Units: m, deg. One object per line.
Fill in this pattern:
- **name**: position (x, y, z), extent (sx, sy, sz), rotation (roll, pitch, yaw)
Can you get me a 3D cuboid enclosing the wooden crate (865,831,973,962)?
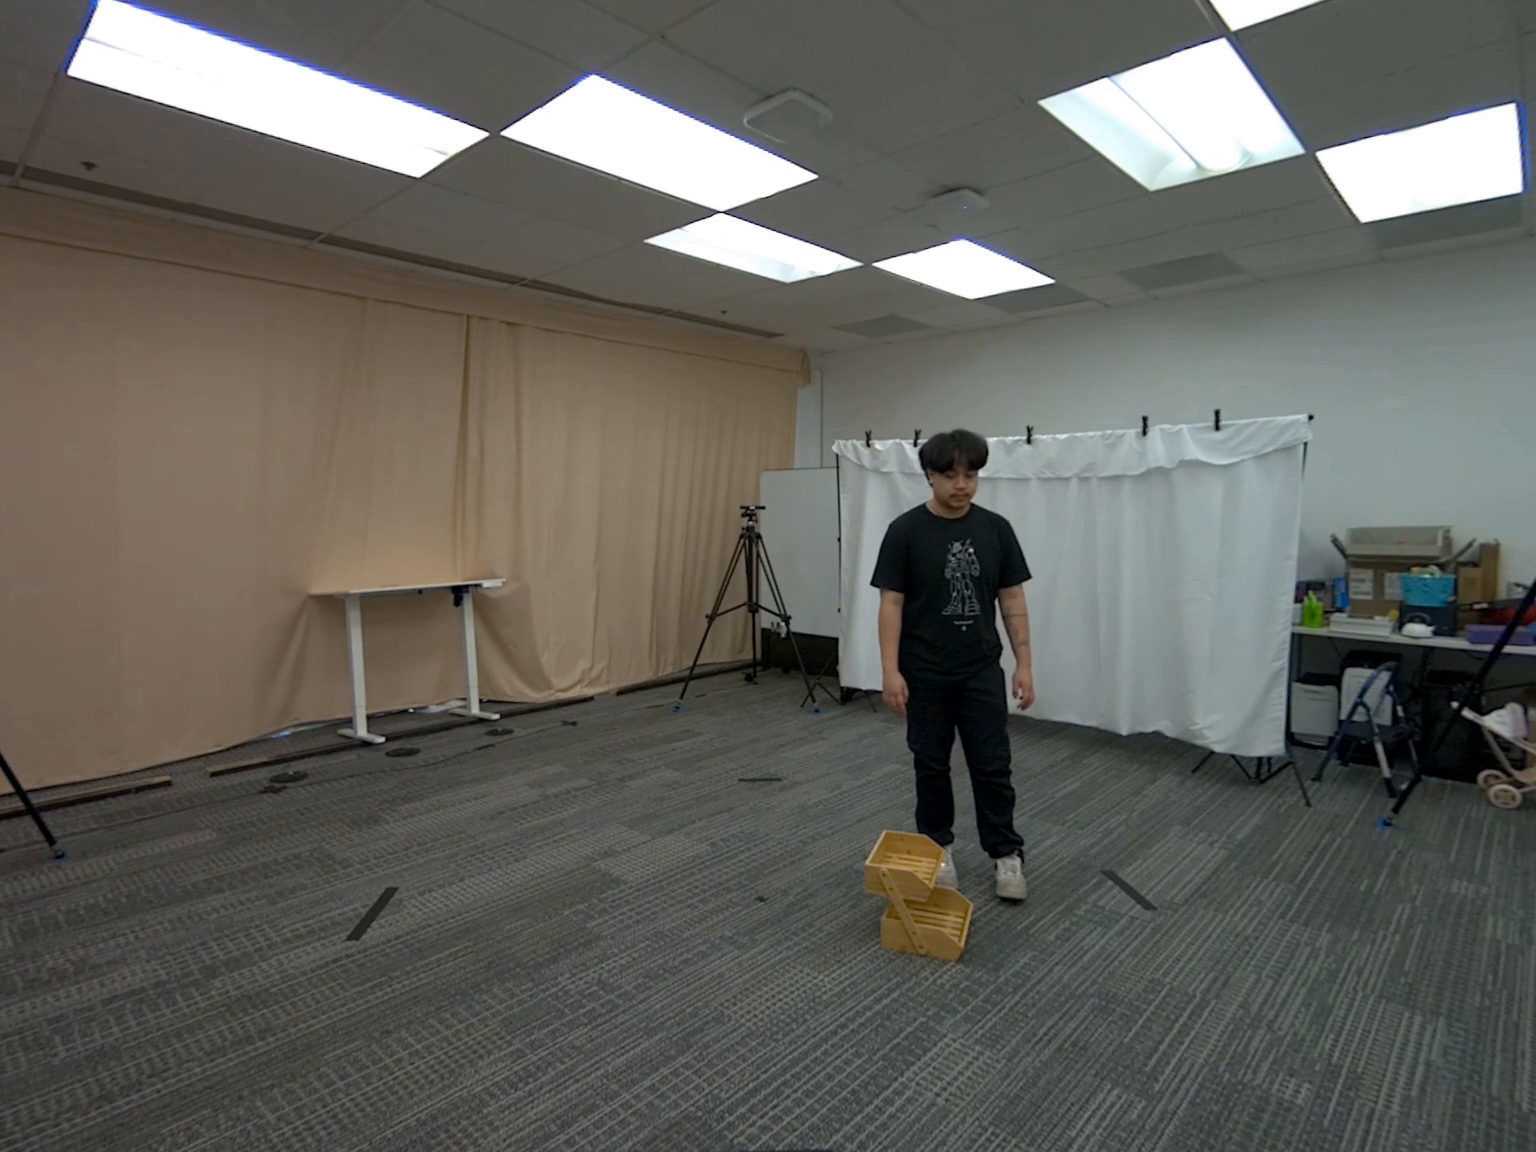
- **wooden crate**: position (0.510, 1.032, 2.745), extent (0.309, 0.273, 0.318), rotation (1, 4, 21)
